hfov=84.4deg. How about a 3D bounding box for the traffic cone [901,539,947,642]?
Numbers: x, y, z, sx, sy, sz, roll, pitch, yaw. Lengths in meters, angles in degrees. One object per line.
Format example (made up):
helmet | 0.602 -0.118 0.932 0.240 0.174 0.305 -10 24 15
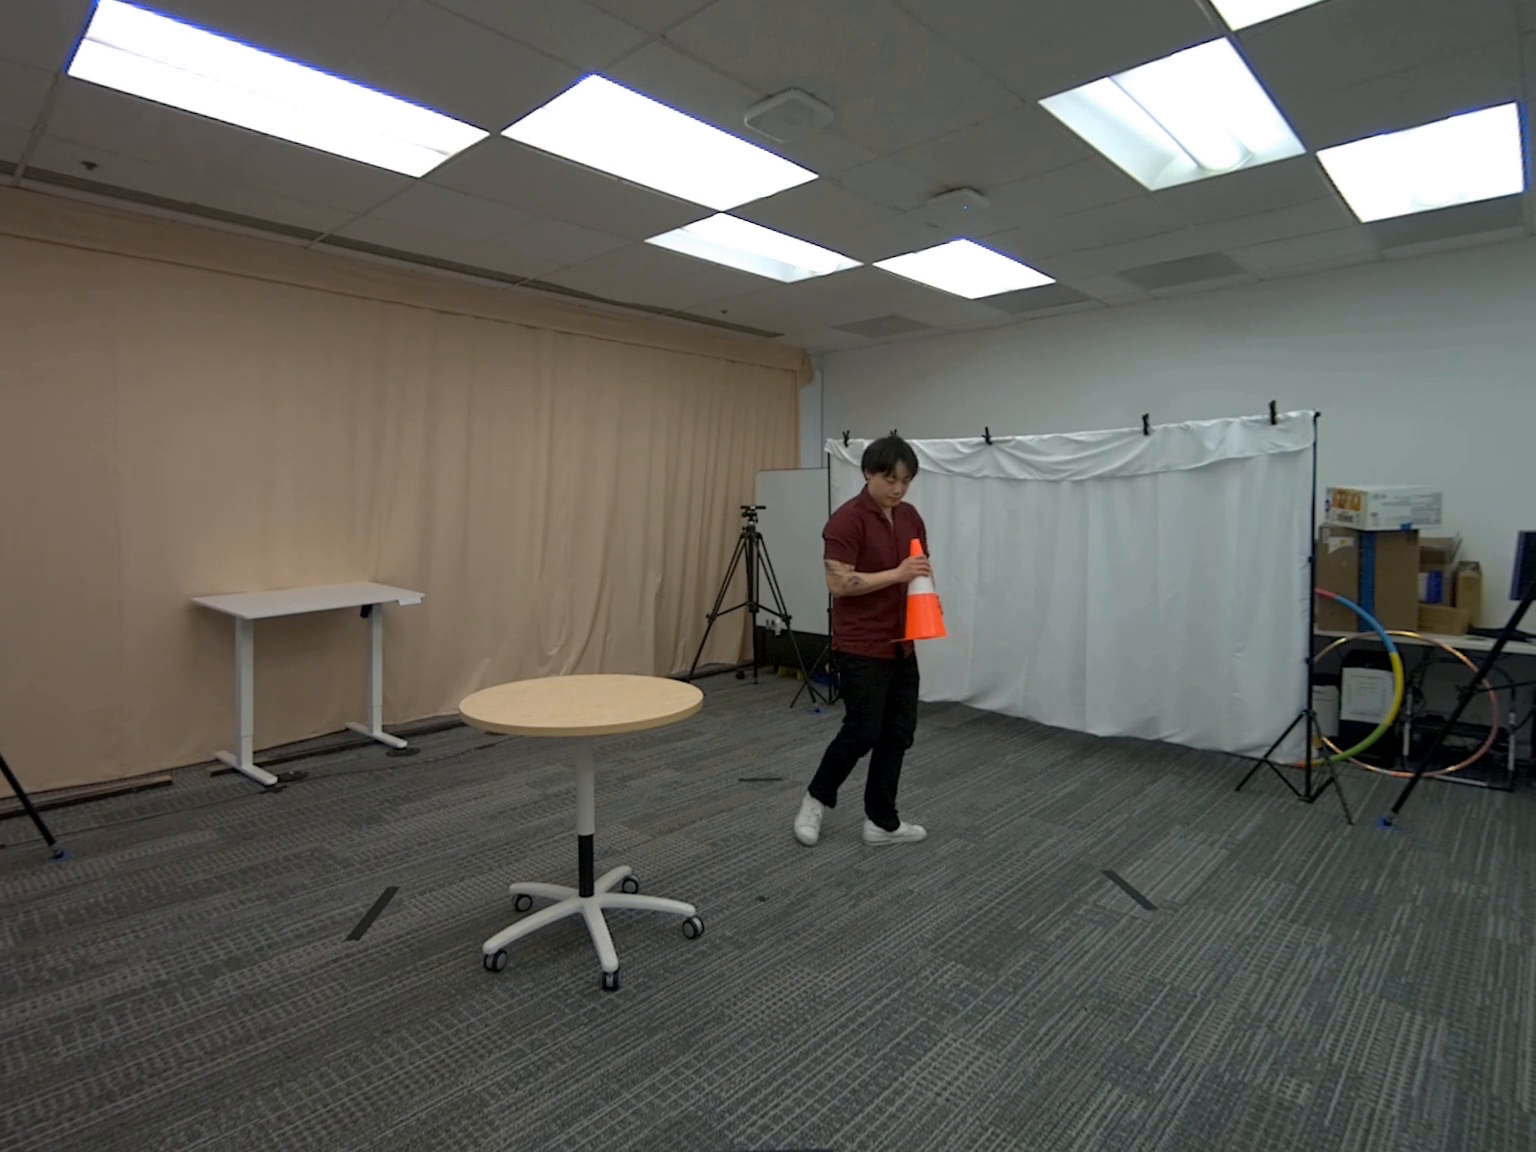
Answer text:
traffic cone | 0.589 0.052 3.252 0.201 0.385 0.206 0 -7 -19
